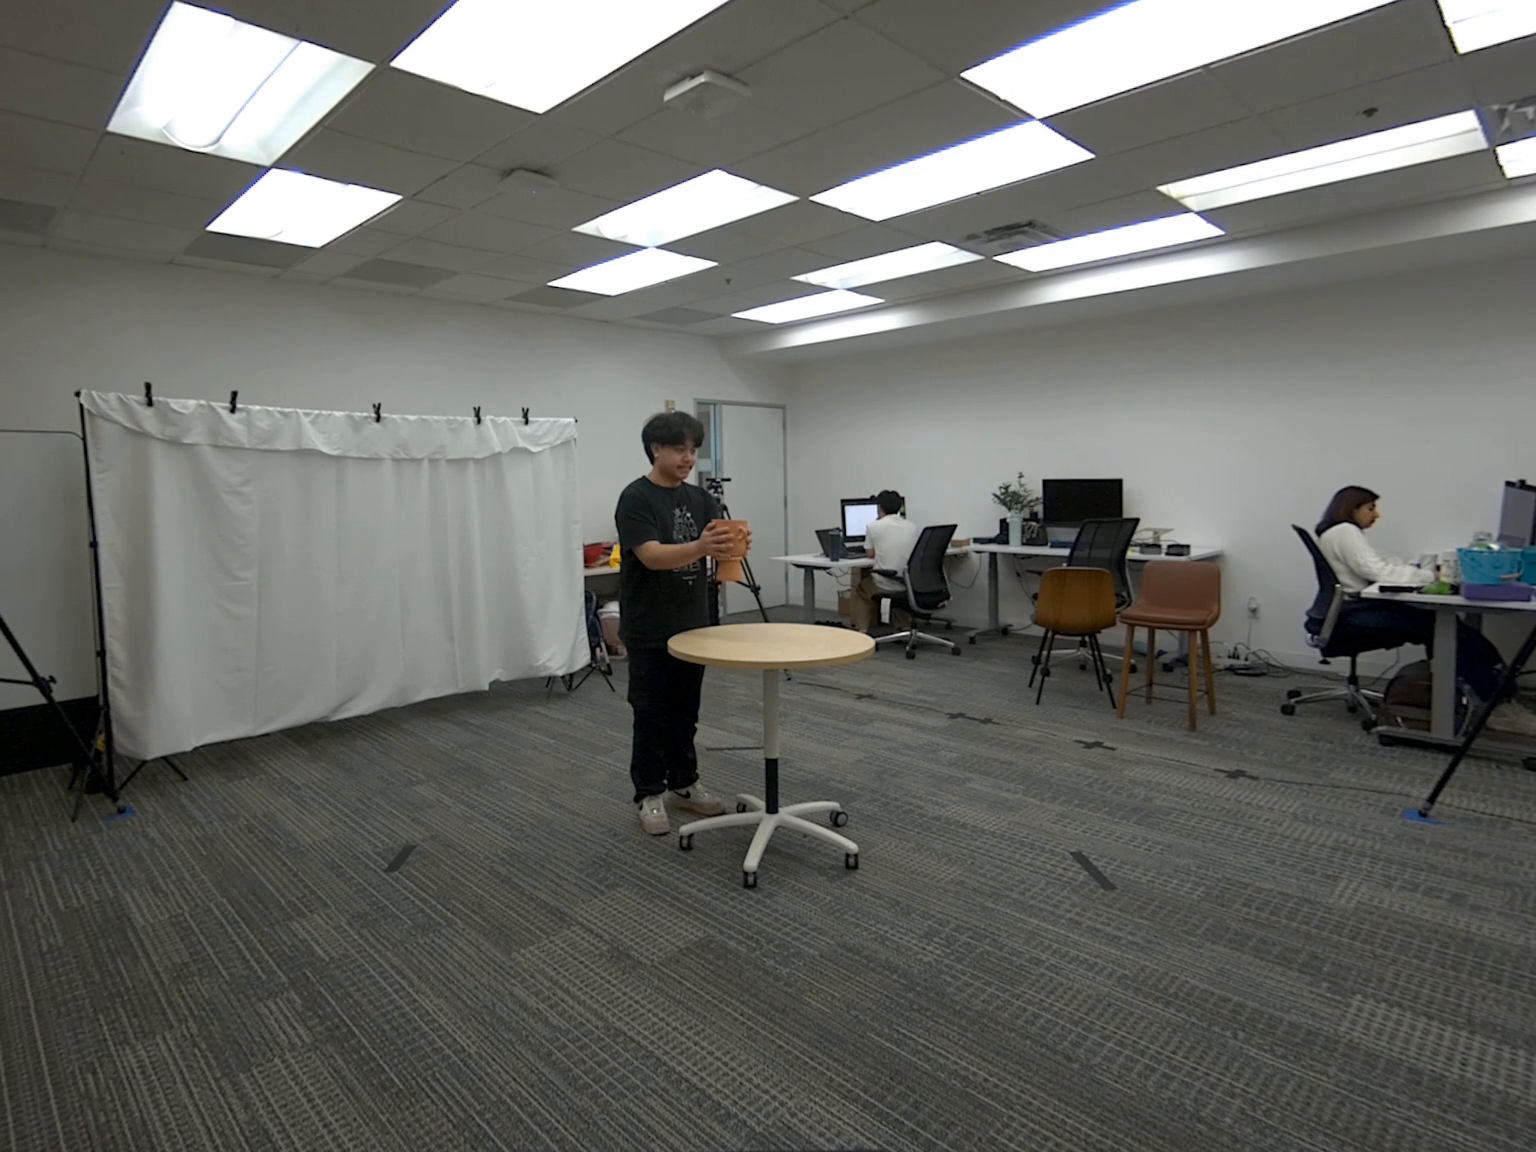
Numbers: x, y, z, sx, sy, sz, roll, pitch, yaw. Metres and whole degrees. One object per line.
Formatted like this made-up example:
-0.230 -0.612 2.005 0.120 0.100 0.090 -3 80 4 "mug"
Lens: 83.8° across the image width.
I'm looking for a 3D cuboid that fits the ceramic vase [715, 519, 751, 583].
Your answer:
-0.139 -0.093 3.122 0.134 0.219 0.159 1 3 -2 "ceramic vase"
